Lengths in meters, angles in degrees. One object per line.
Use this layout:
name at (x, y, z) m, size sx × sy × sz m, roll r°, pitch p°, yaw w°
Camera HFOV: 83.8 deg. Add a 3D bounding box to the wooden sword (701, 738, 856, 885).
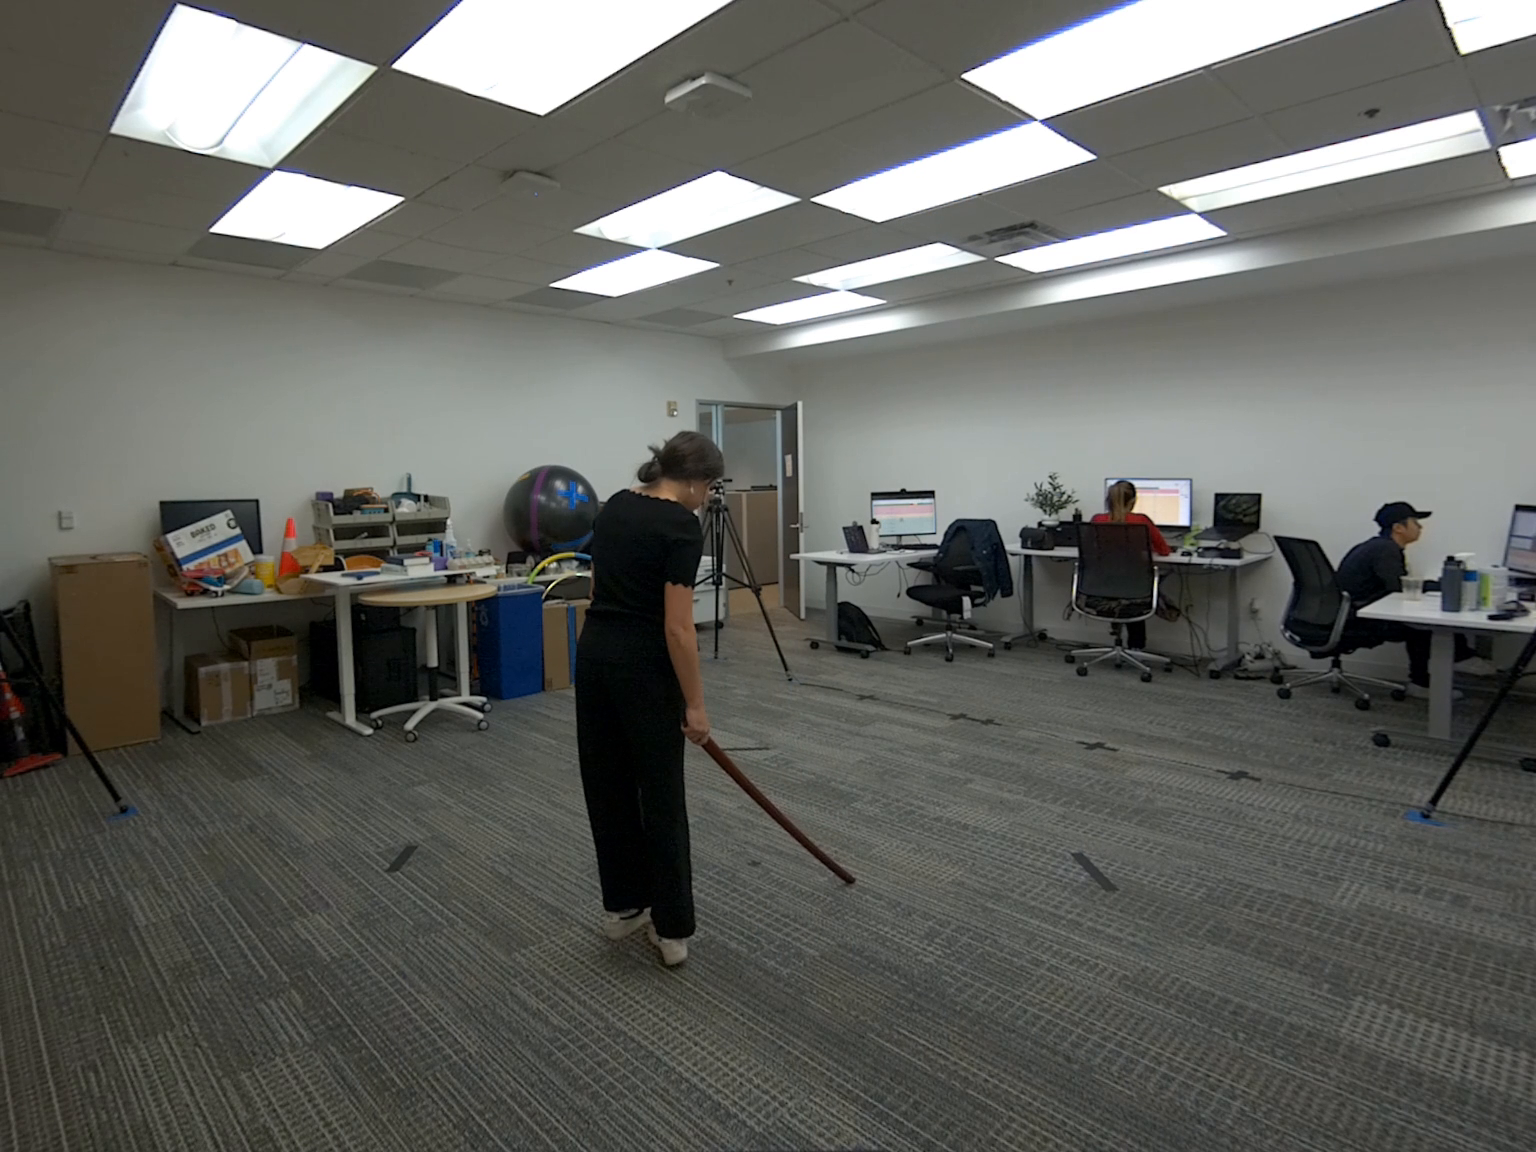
wooden sword at (0.021, 0.745, 2.689) m, size 0.051 × 0.988 × 0.025 m, roll -42°, pitch 34°, yaw 1°
